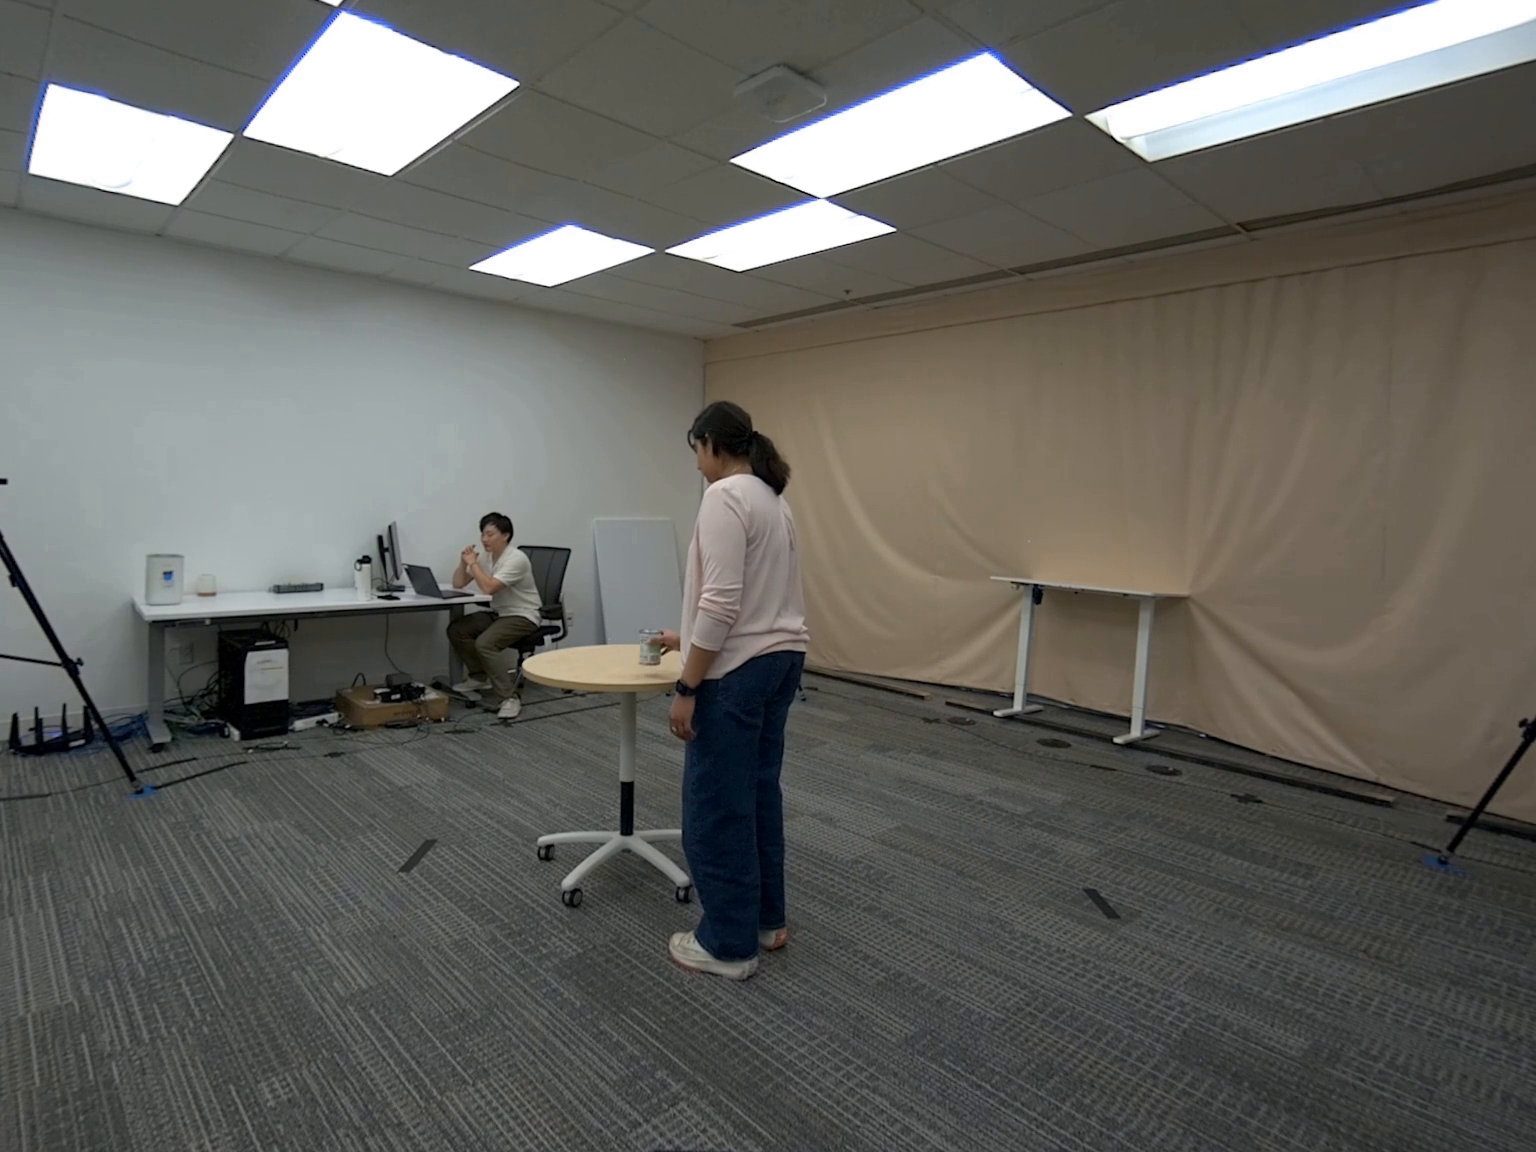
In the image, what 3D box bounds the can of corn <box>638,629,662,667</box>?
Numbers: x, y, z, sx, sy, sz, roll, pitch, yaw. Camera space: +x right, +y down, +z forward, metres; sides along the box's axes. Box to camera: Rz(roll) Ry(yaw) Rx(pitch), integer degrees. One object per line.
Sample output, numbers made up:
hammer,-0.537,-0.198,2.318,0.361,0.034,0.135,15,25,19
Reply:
can of corn,-0.401,0.238,2.842,0.074,0.111,0.074,1,3,-1
